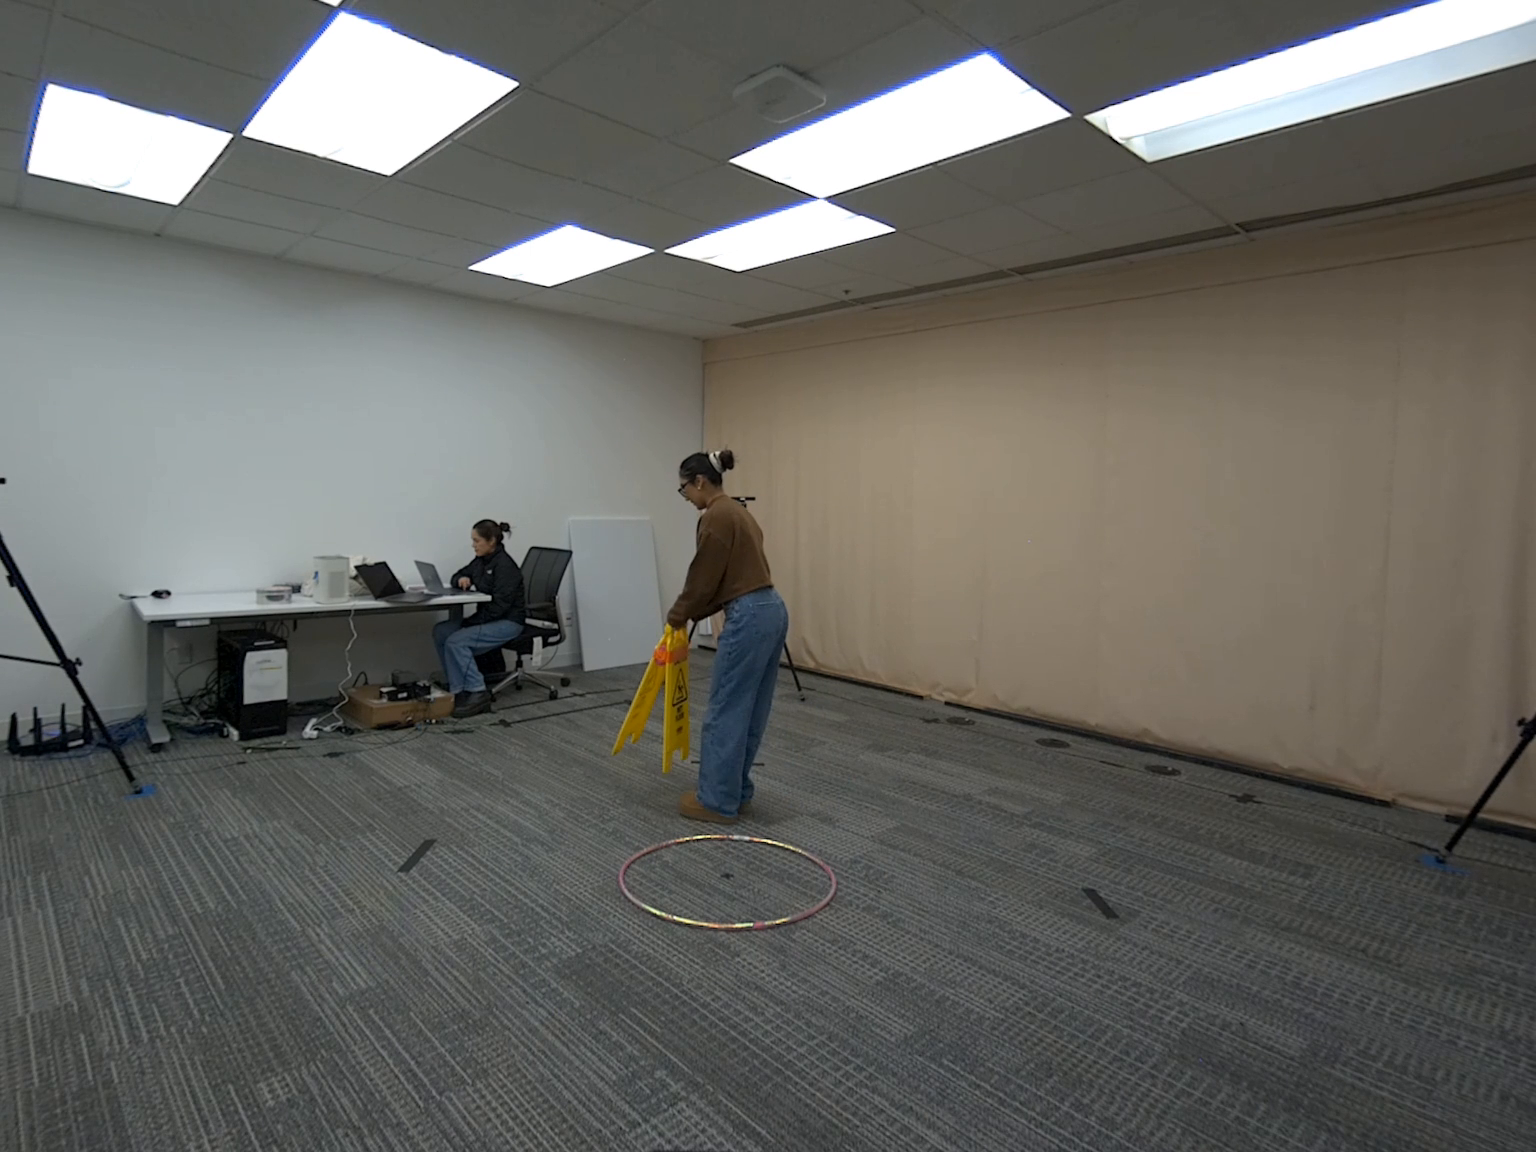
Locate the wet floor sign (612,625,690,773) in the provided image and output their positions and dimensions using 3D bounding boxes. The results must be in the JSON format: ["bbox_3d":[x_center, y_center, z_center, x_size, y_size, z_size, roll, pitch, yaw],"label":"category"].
[{"bbox_3d":[-0.474,0.510,3.801,0.294,0.644,0.279,13,5,16],"label":"wet floor sign"}]
